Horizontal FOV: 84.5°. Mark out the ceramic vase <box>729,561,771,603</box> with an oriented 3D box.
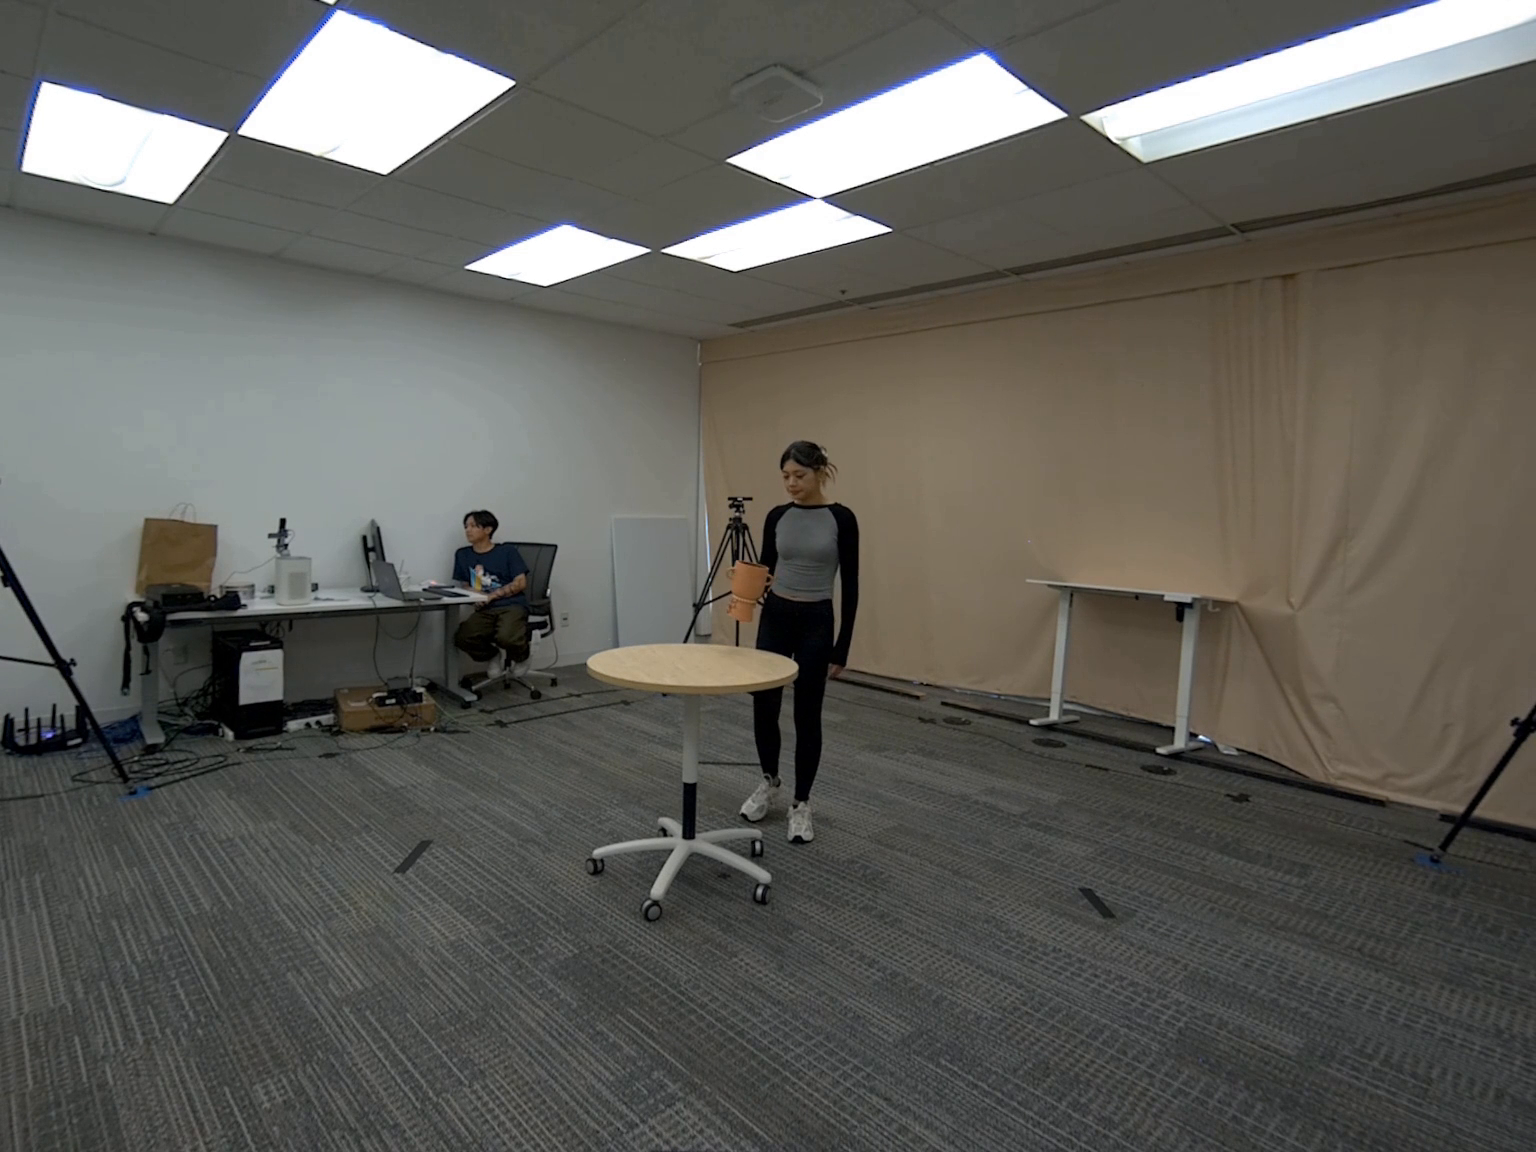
[{"bbox_3d":[-0.092,0.061,3.298,0.162,0.219,0.132,14,7,22],"label":"ceramic vase"}]
